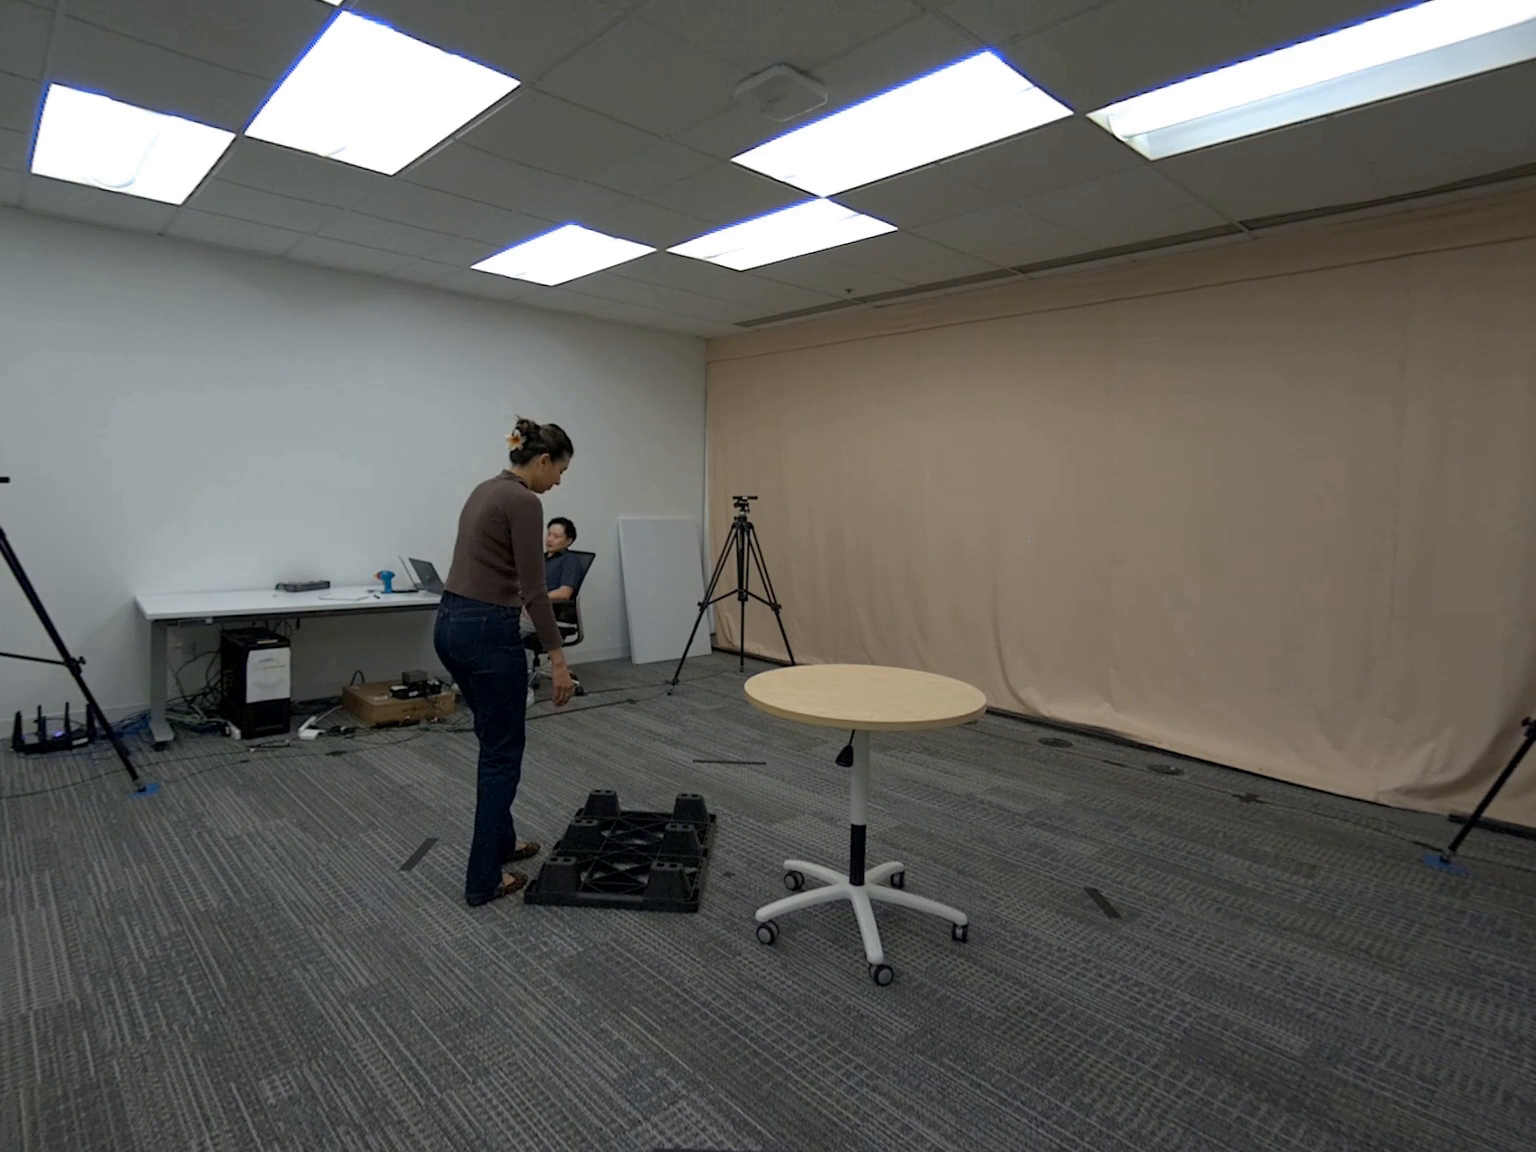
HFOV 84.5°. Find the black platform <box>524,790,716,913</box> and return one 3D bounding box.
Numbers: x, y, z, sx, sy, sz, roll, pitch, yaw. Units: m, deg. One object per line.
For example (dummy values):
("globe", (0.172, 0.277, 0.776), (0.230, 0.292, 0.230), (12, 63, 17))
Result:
("black platform", (-0.530, 1.016, 3.222), (0.606, 0.143, 0.806), (2, 5, 1))
